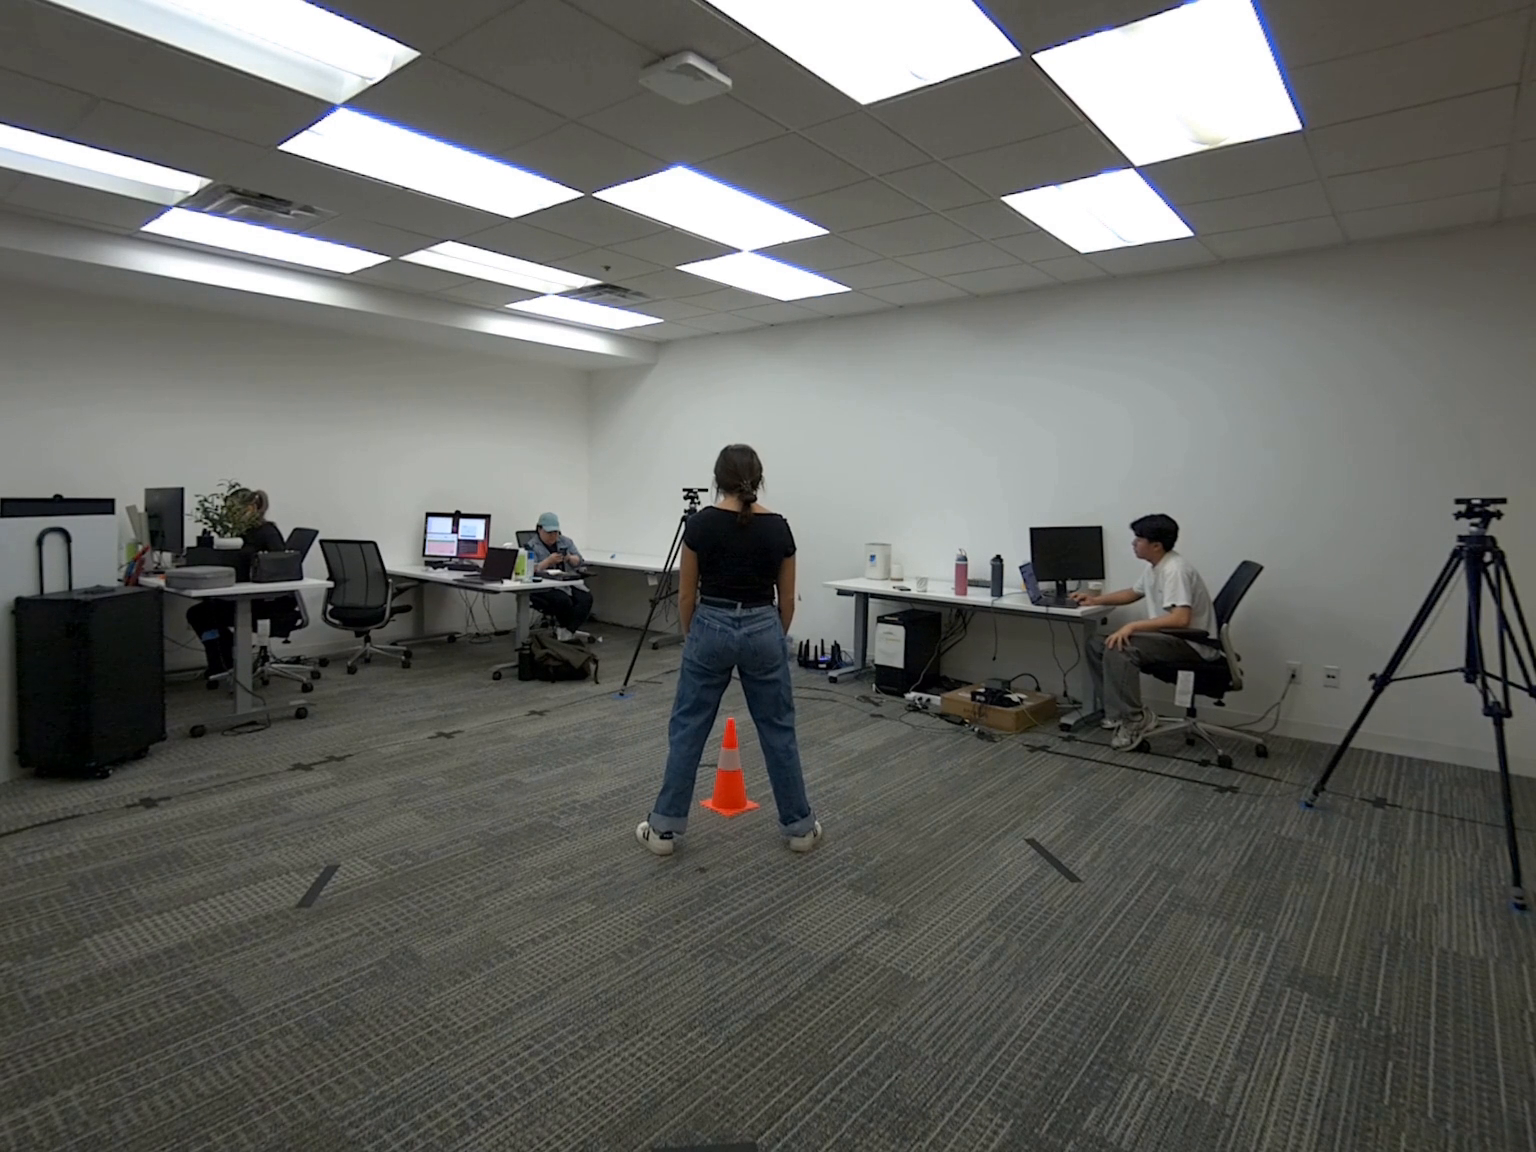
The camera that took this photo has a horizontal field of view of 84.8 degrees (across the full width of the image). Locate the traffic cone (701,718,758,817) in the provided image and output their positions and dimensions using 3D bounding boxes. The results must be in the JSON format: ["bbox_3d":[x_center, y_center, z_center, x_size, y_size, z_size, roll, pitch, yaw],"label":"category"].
[{"bbox_3d":[-0.166,0.815,3.770,0.197,0.383,0.211,1,1,-37],"label":"traffic cone"}]
